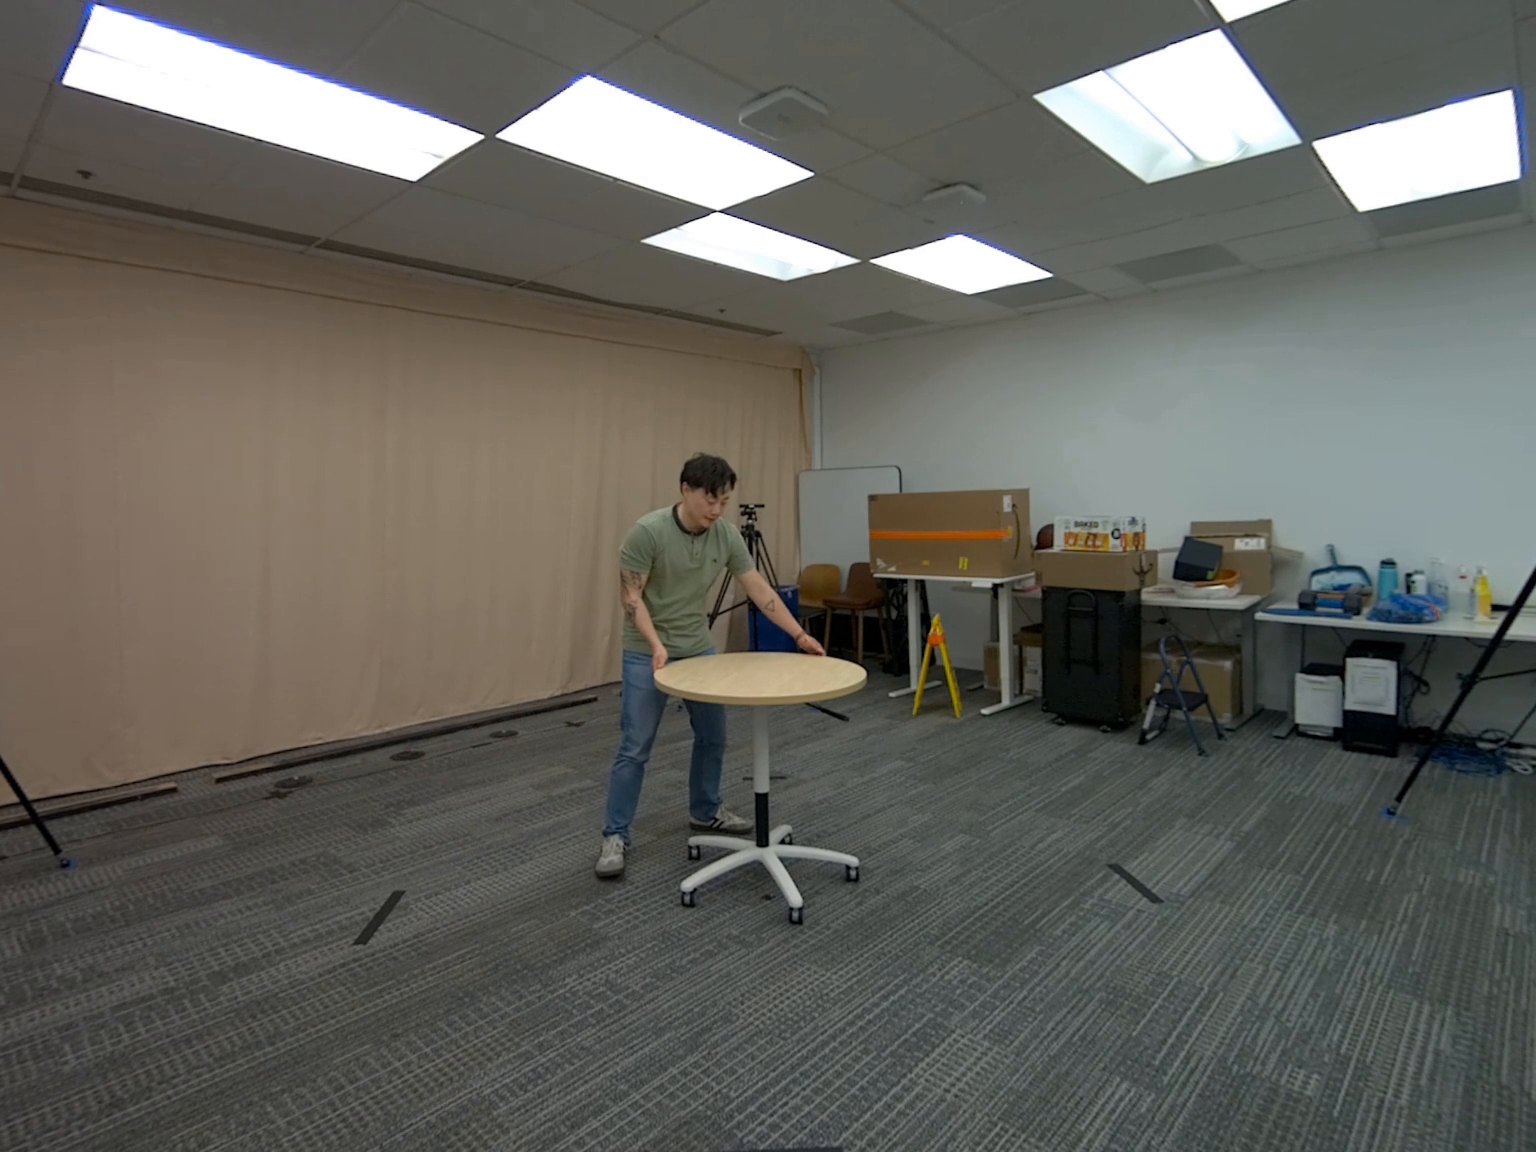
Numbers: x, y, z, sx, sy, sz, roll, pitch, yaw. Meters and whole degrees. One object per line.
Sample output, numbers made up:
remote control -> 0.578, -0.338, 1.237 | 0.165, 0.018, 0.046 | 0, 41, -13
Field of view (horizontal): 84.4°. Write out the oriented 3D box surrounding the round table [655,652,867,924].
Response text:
round table -> -0.016, 0.740, 3.075 | 0.763, 0.792, 0.767 | -1, 4, -2
